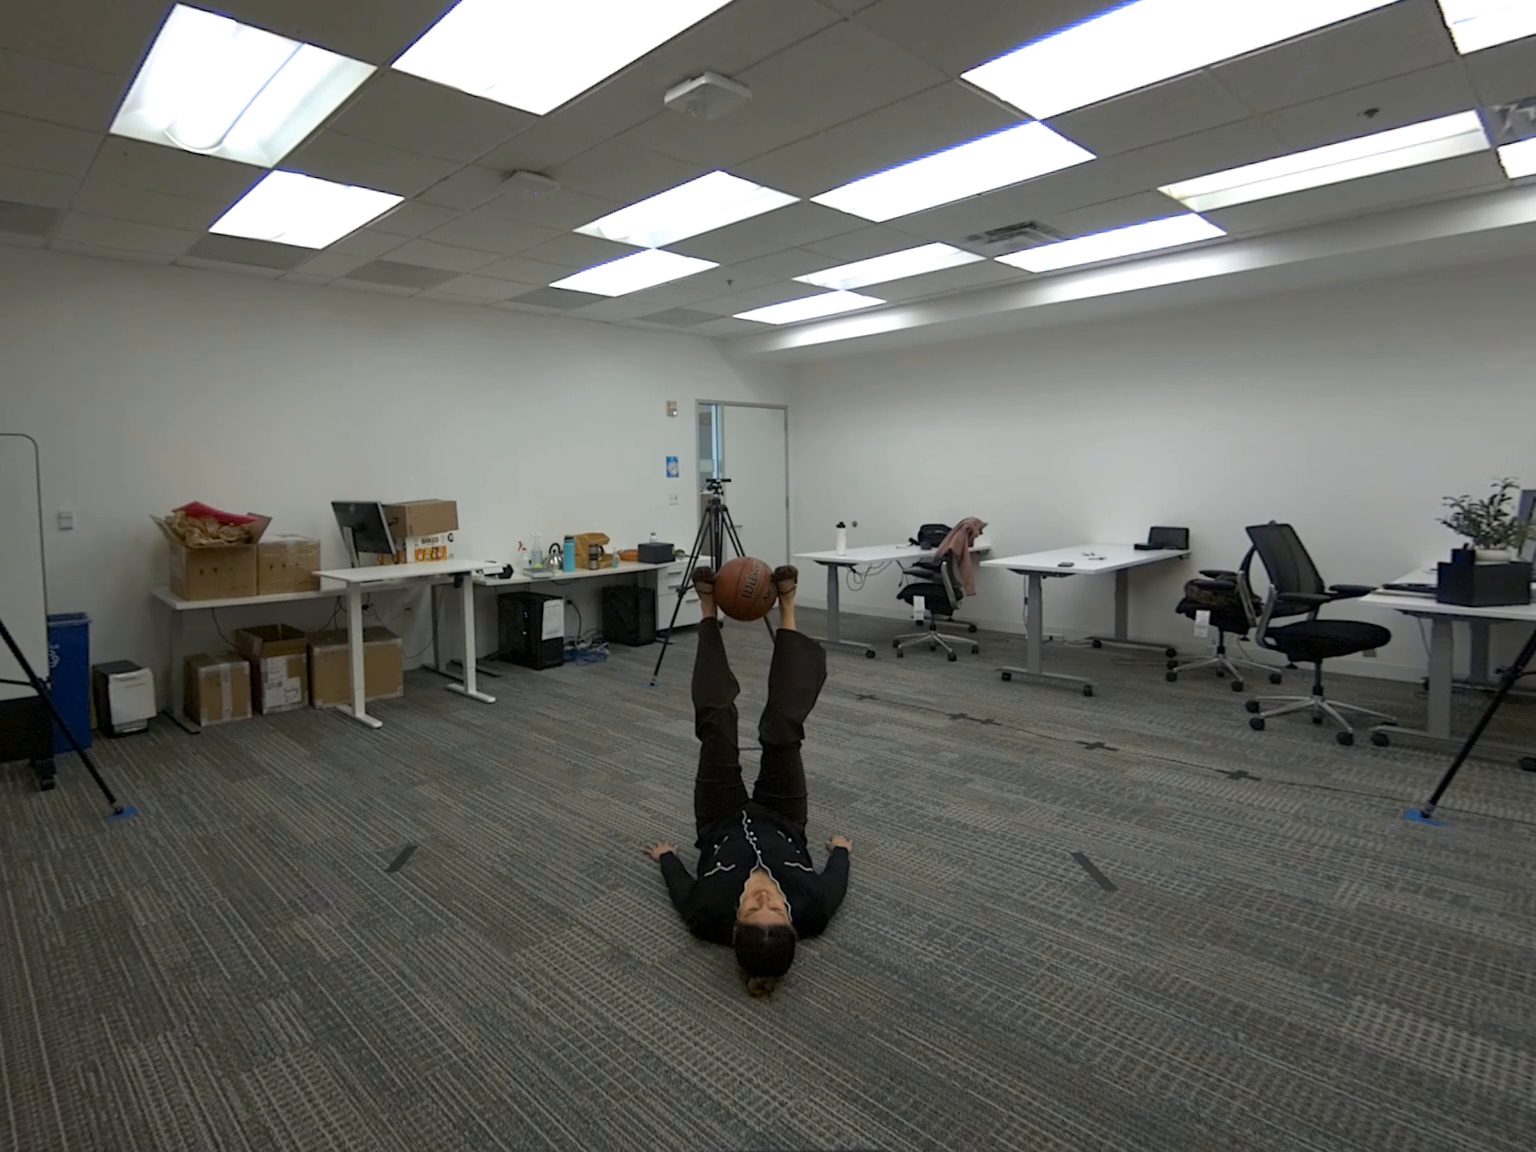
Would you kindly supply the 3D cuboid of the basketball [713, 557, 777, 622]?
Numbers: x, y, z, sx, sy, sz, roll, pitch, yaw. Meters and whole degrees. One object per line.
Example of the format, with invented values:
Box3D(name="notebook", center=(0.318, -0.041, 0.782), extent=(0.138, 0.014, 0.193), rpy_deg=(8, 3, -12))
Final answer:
Box3D(name="basketball", center=(-0.081, 0.046, 3.106), extent=(0.236, 0.235, 0.237), rpy_deg=(-4, 4, -1))
